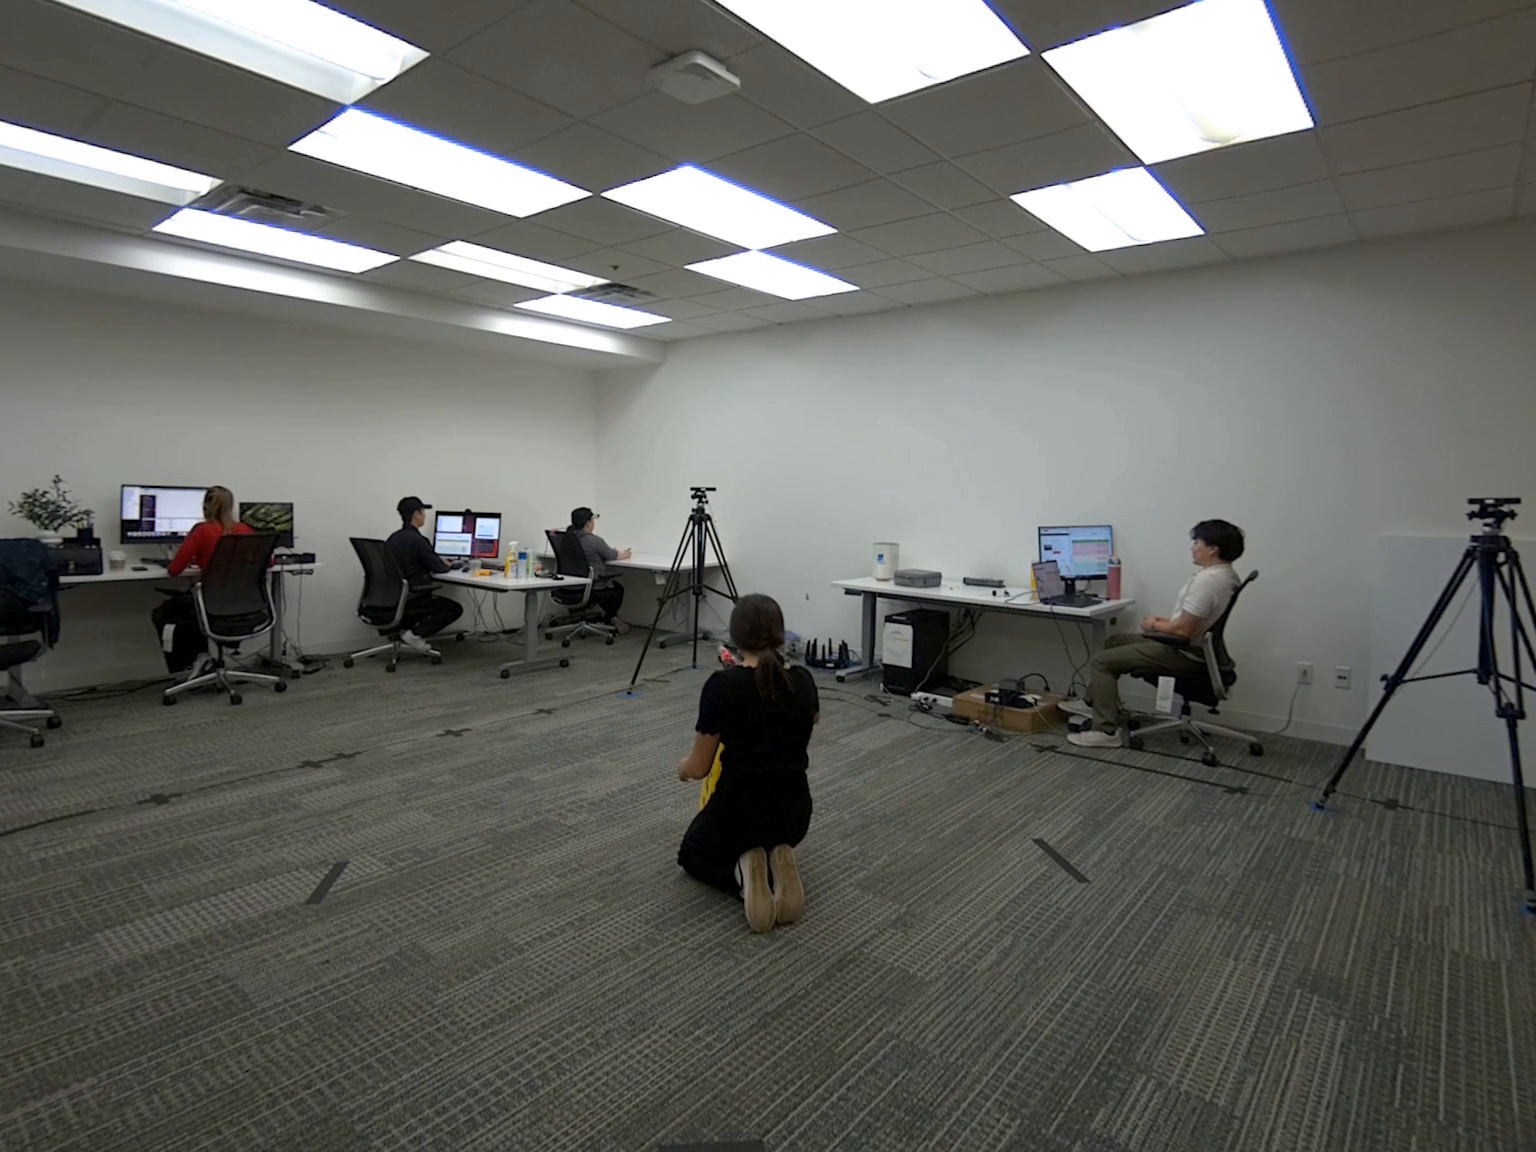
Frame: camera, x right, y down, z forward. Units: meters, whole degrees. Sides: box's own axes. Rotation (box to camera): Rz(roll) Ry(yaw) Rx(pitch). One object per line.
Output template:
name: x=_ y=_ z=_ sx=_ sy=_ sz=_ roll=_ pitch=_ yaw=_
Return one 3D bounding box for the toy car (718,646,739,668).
toy car: x=-0.124 y=0.407 z=3.349 sx=0.083 sy=0.250 sz=0.133 roll=-39 pitch=13 yaw=-2
